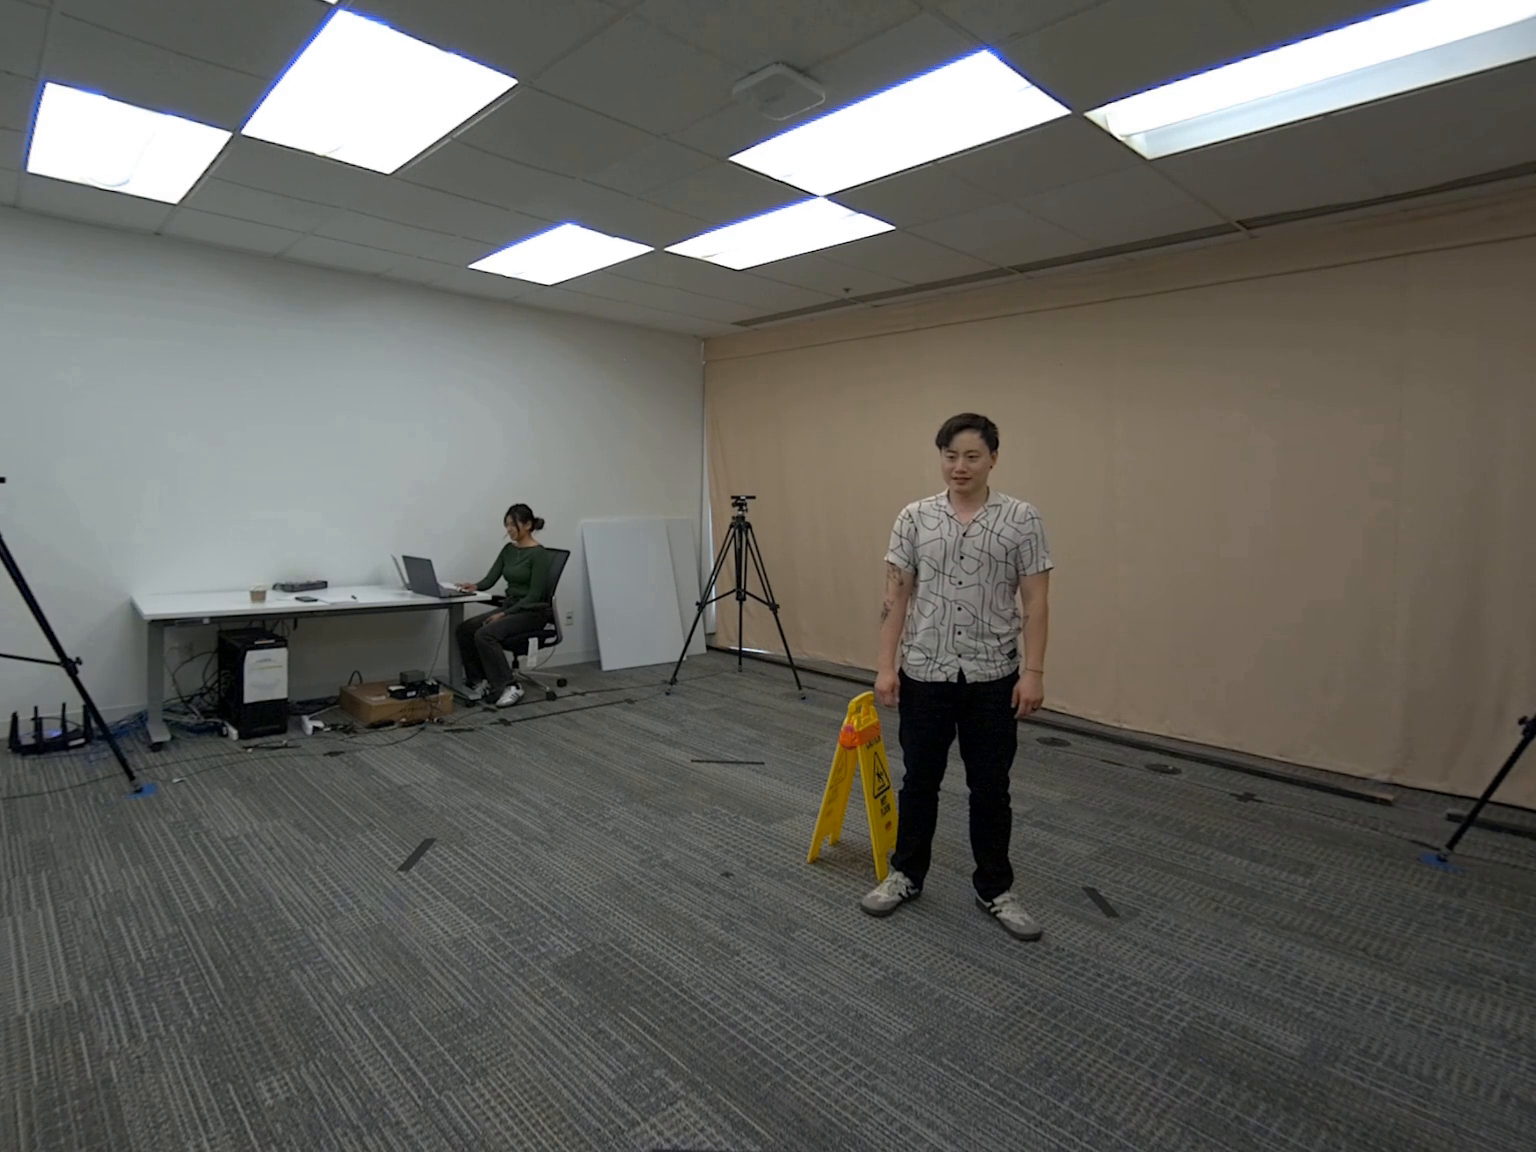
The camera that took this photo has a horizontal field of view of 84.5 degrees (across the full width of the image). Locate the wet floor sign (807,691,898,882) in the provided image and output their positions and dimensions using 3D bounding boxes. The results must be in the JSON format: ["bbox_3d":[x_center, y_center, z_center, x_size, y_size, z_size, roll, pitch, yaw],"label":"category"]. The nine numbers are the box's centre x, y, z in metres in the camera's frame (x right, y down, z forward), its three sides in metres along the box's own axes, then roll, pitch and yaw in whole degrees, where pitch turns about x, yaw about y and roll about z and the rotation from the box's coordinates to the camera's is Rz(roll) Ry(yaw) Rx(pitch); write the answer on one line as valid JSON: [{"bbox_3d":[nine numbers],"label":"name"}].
[{"bbox_3d":[0.341,0.777,3.242,0.296,0.645,0.276,2,2,29],"label":"wet floor sign"}]
